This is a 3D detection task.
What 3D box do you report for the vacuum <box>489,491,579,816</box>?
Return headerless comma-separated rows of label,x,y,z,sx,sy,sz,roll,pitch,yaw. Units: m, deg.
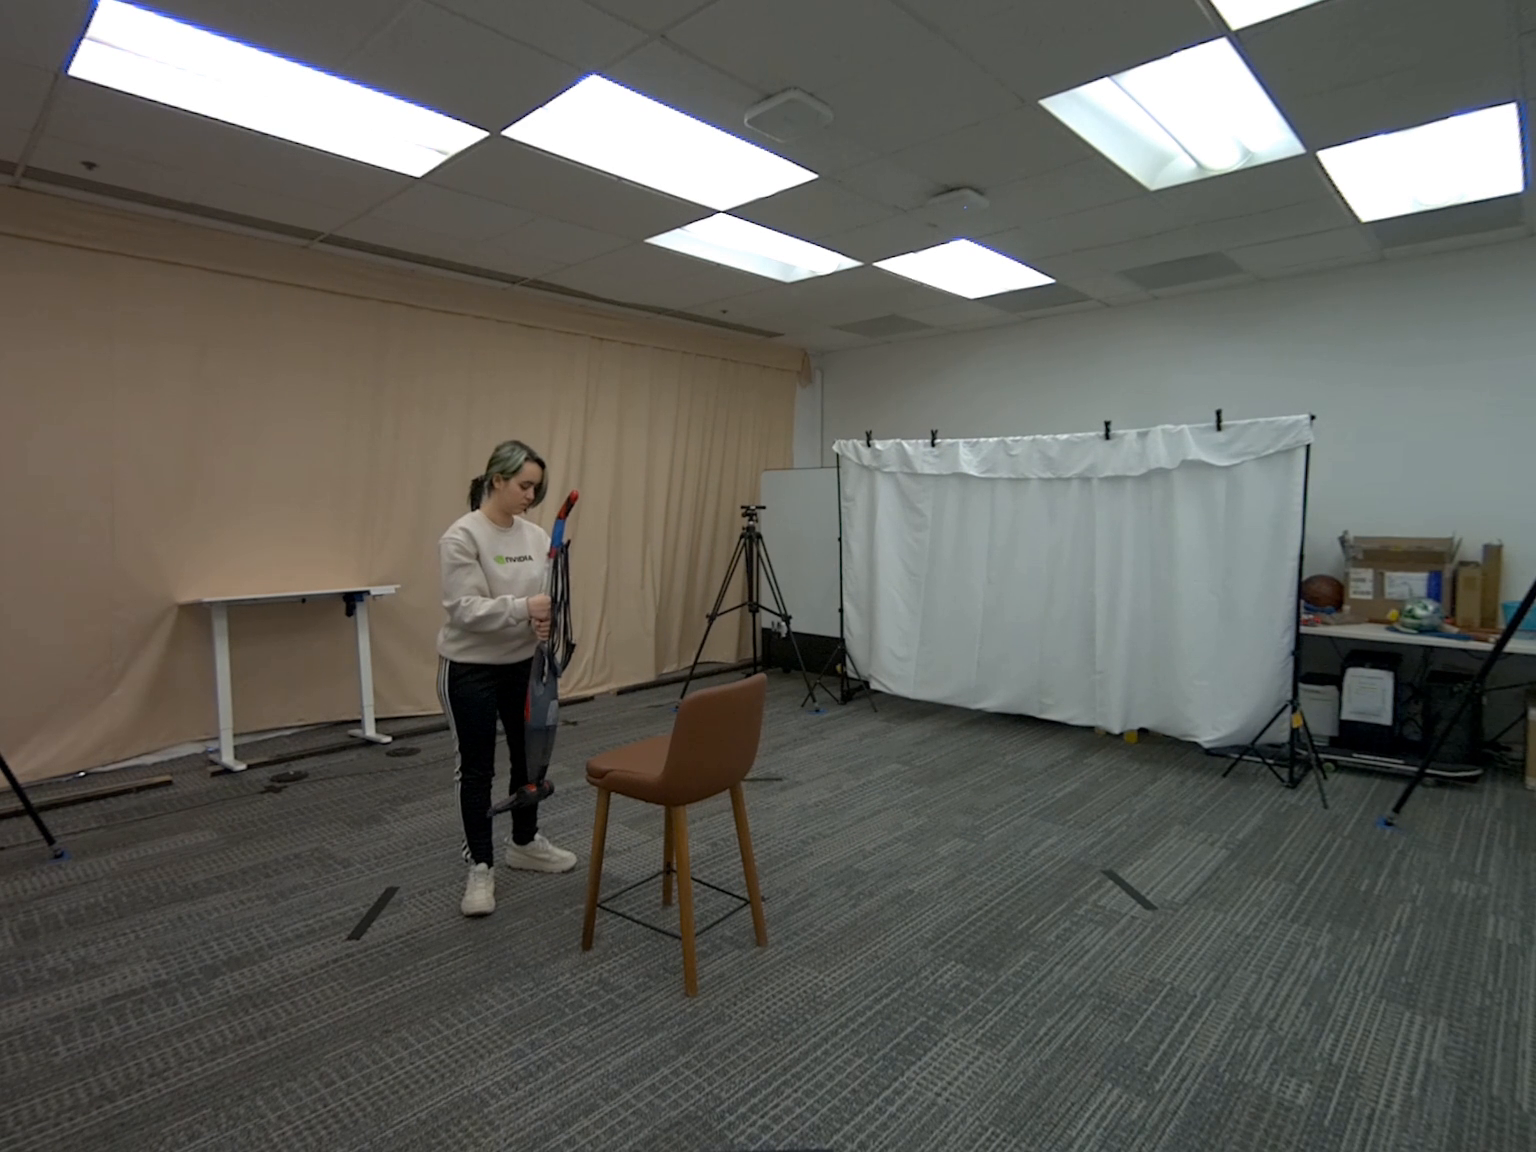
vacuum,-0.728,0.237,2.820,0.149,1.047,0.244,14,6,37
